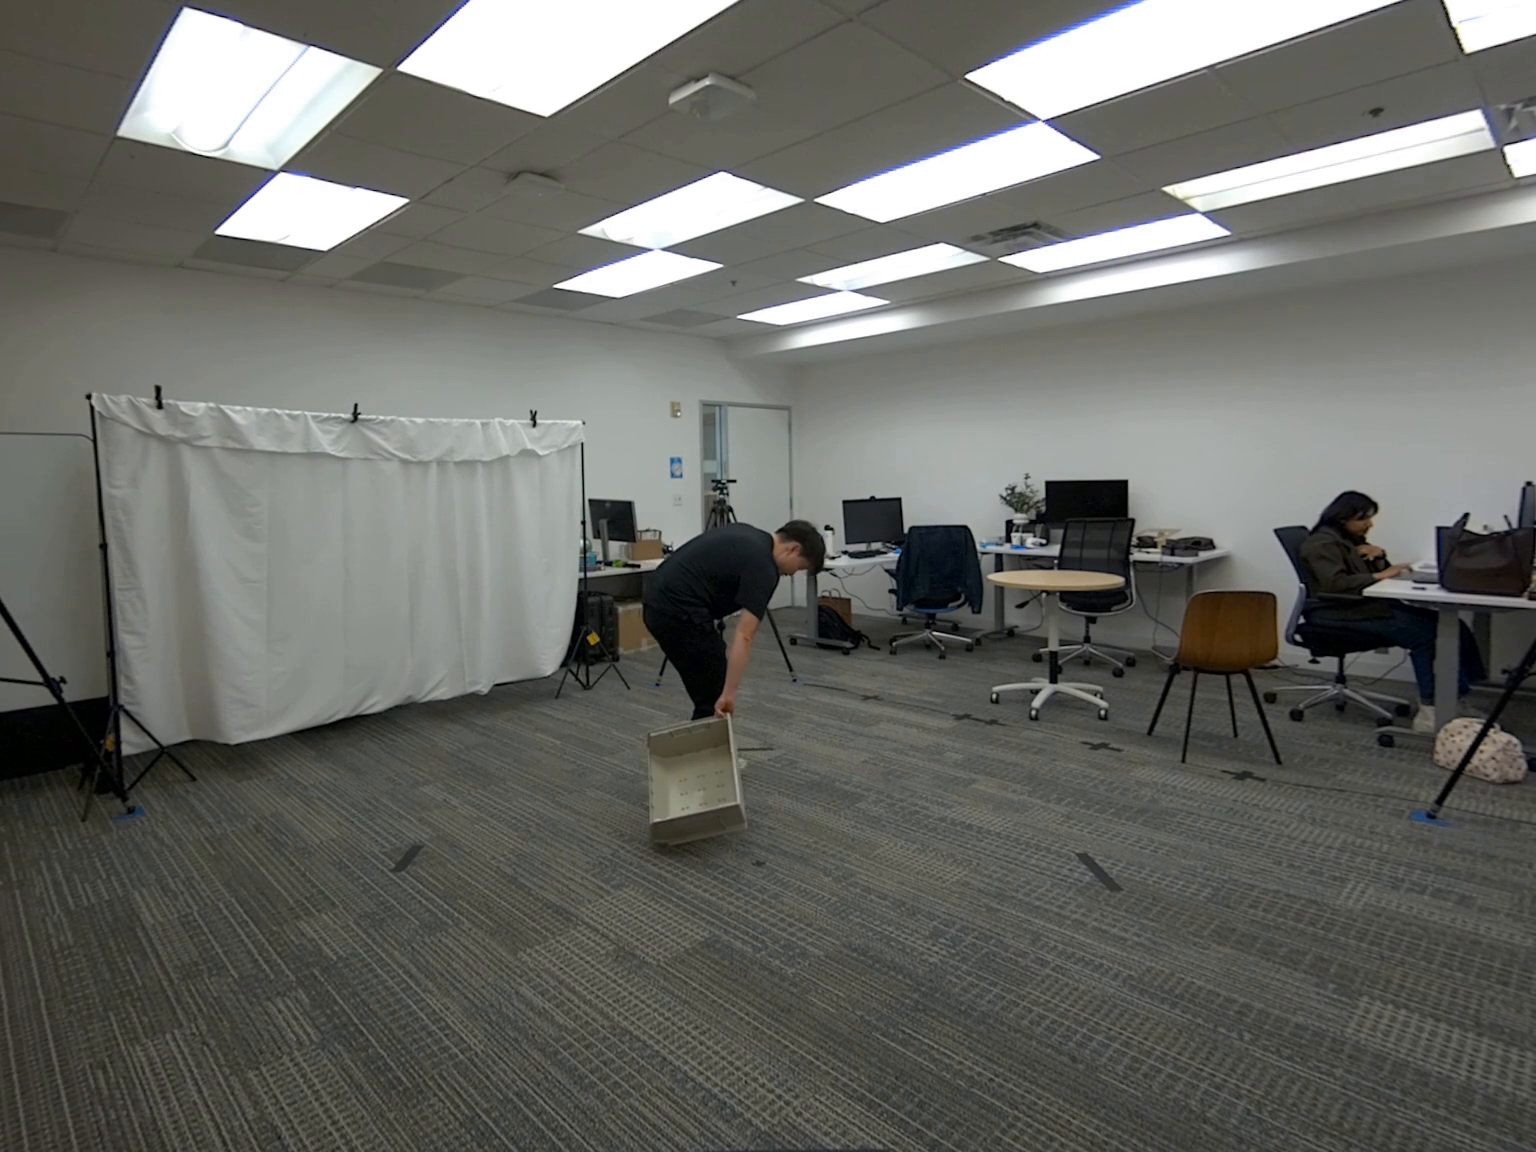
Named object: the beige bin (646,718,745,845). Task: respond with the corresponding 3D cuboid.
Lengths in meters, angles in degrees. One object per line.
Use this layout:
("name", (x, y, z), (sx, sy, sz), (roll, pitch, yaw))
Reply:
("beige bin", (-0.301, 0.803, 3.366), (0.378, 0.183, 0.435), (-12, 40, 3))
